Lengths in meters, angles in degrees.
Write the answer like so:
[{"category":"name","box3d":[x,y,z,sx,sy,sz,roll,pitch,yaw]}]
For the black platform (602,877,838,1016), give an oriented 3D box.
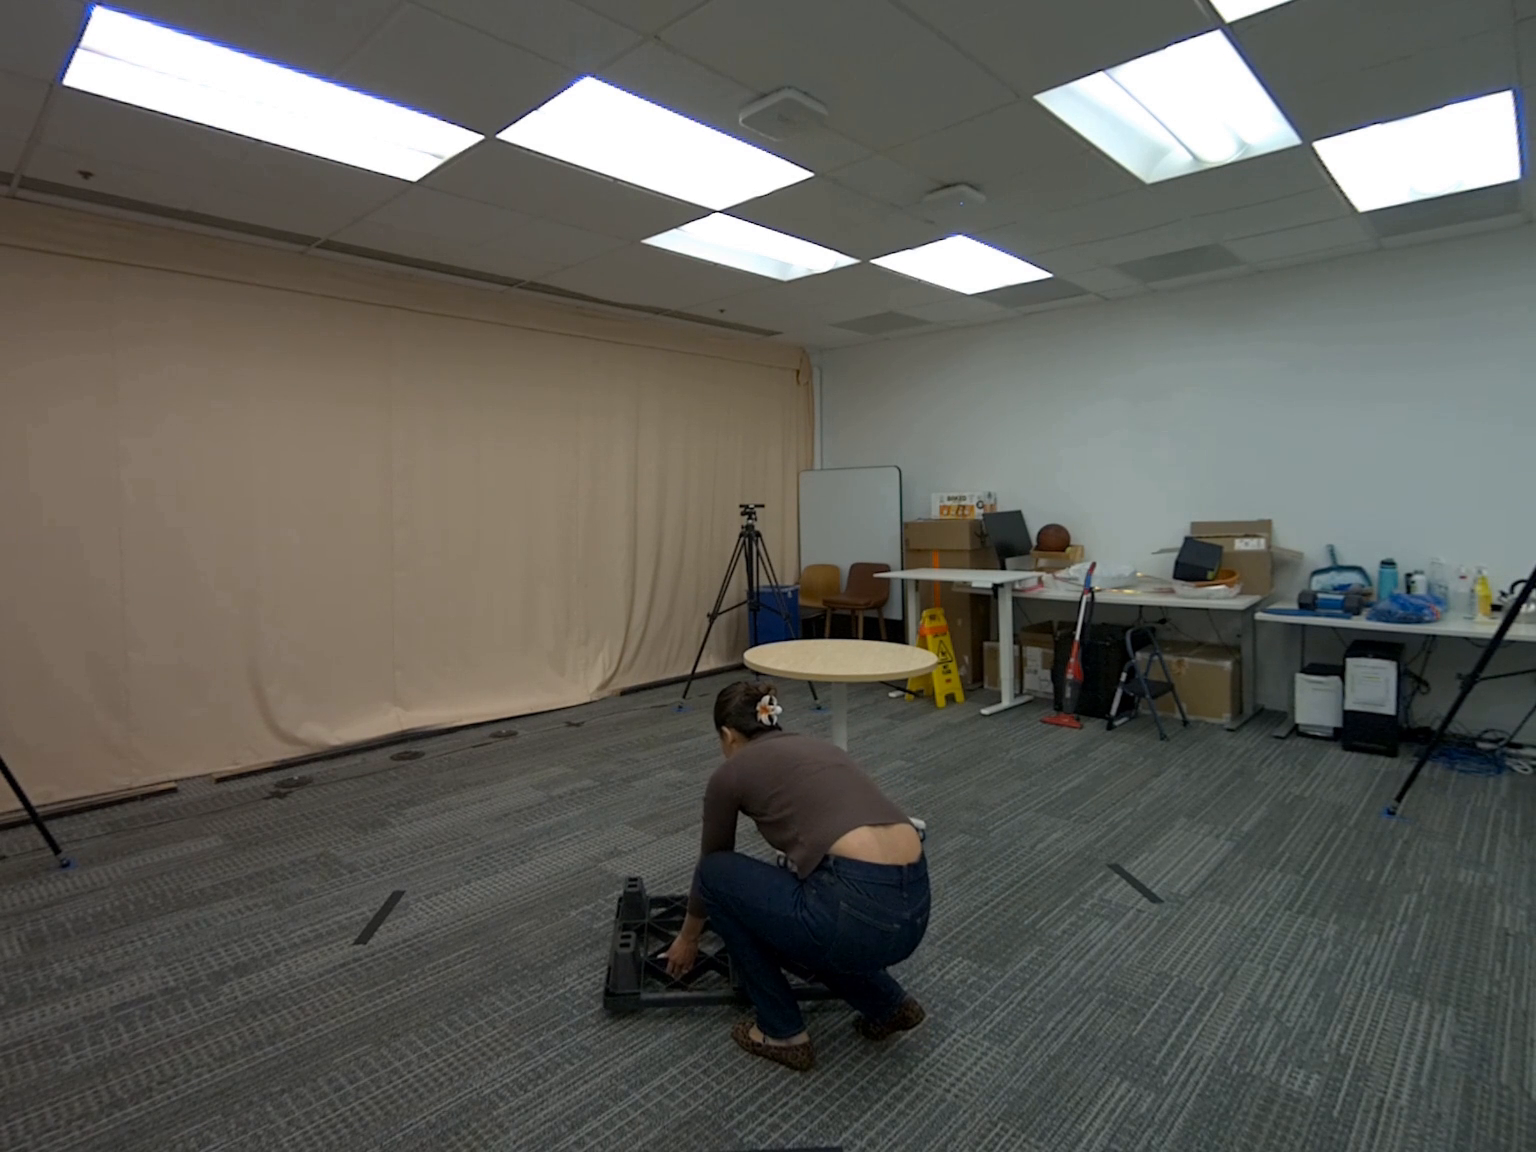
[{"category":"black platform","box3d":[-0.085,1.077,2.580,0.802,0.143,0.609,-2,5,-4]}]
